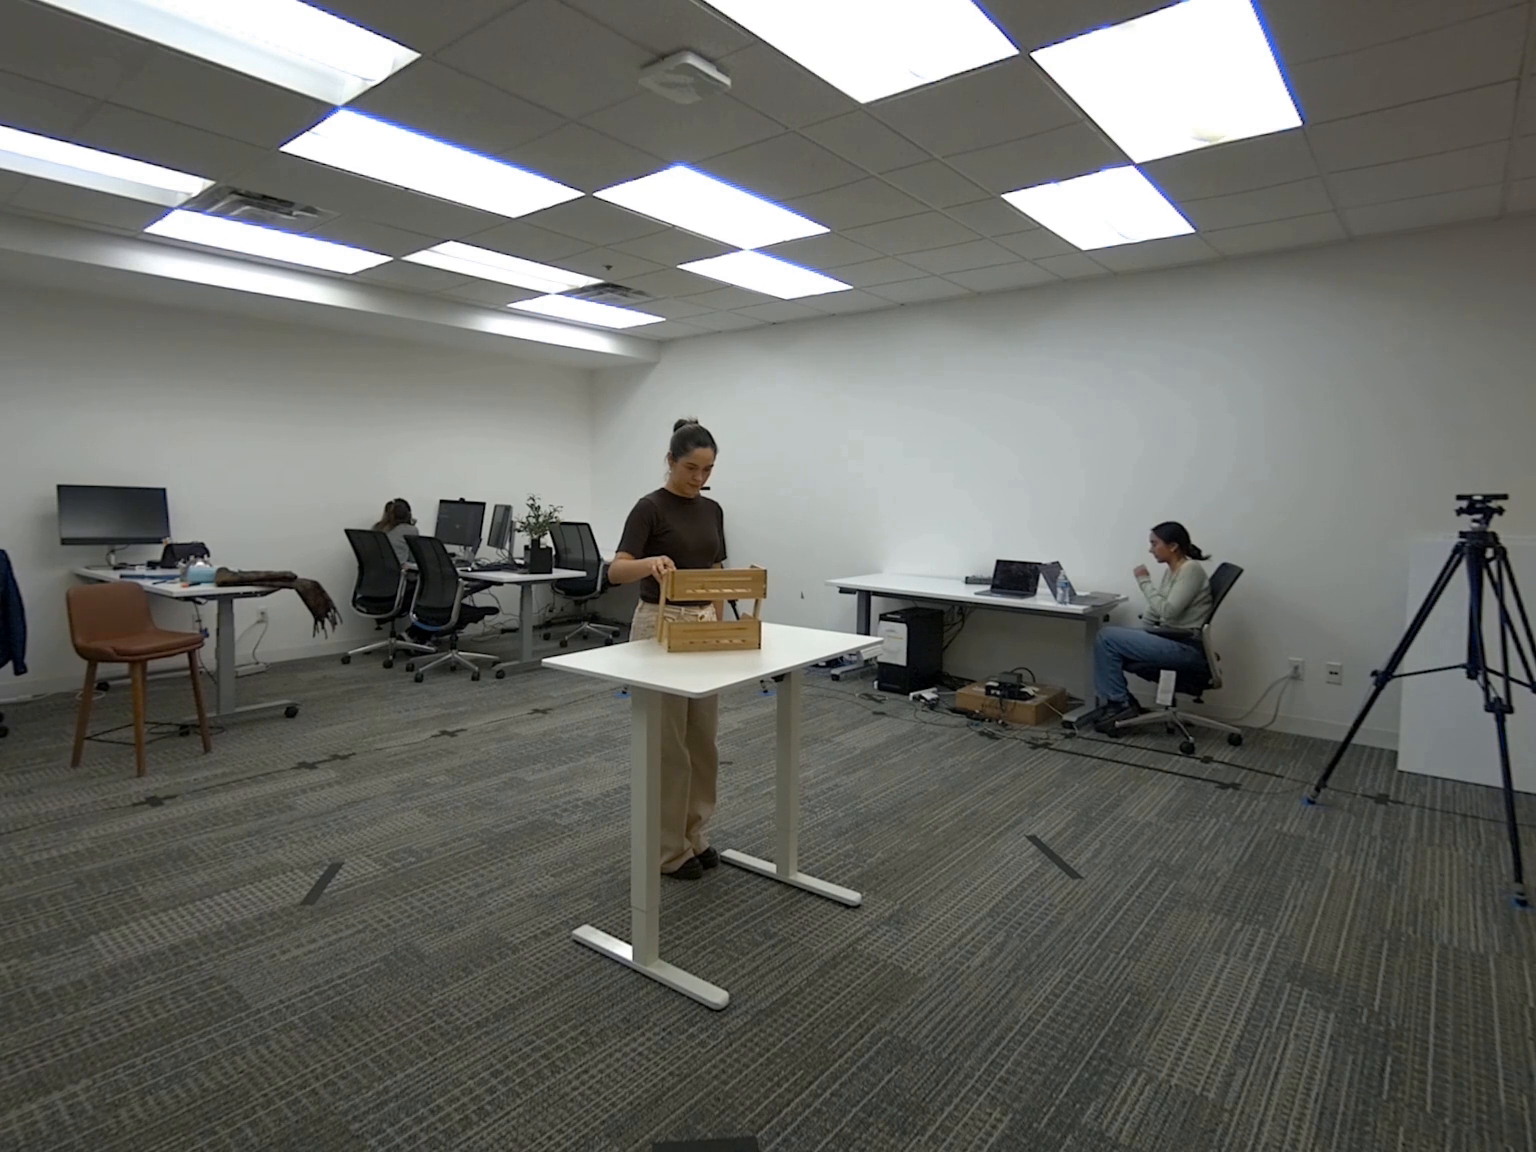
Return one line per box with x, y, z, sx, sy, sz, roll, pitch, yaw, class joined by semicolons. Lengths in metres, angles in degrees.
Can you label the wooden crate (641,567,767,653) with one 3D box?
-0.205;0.089;2.734;0.320;0.272;0.307;-1;5;-13;wooden crate
